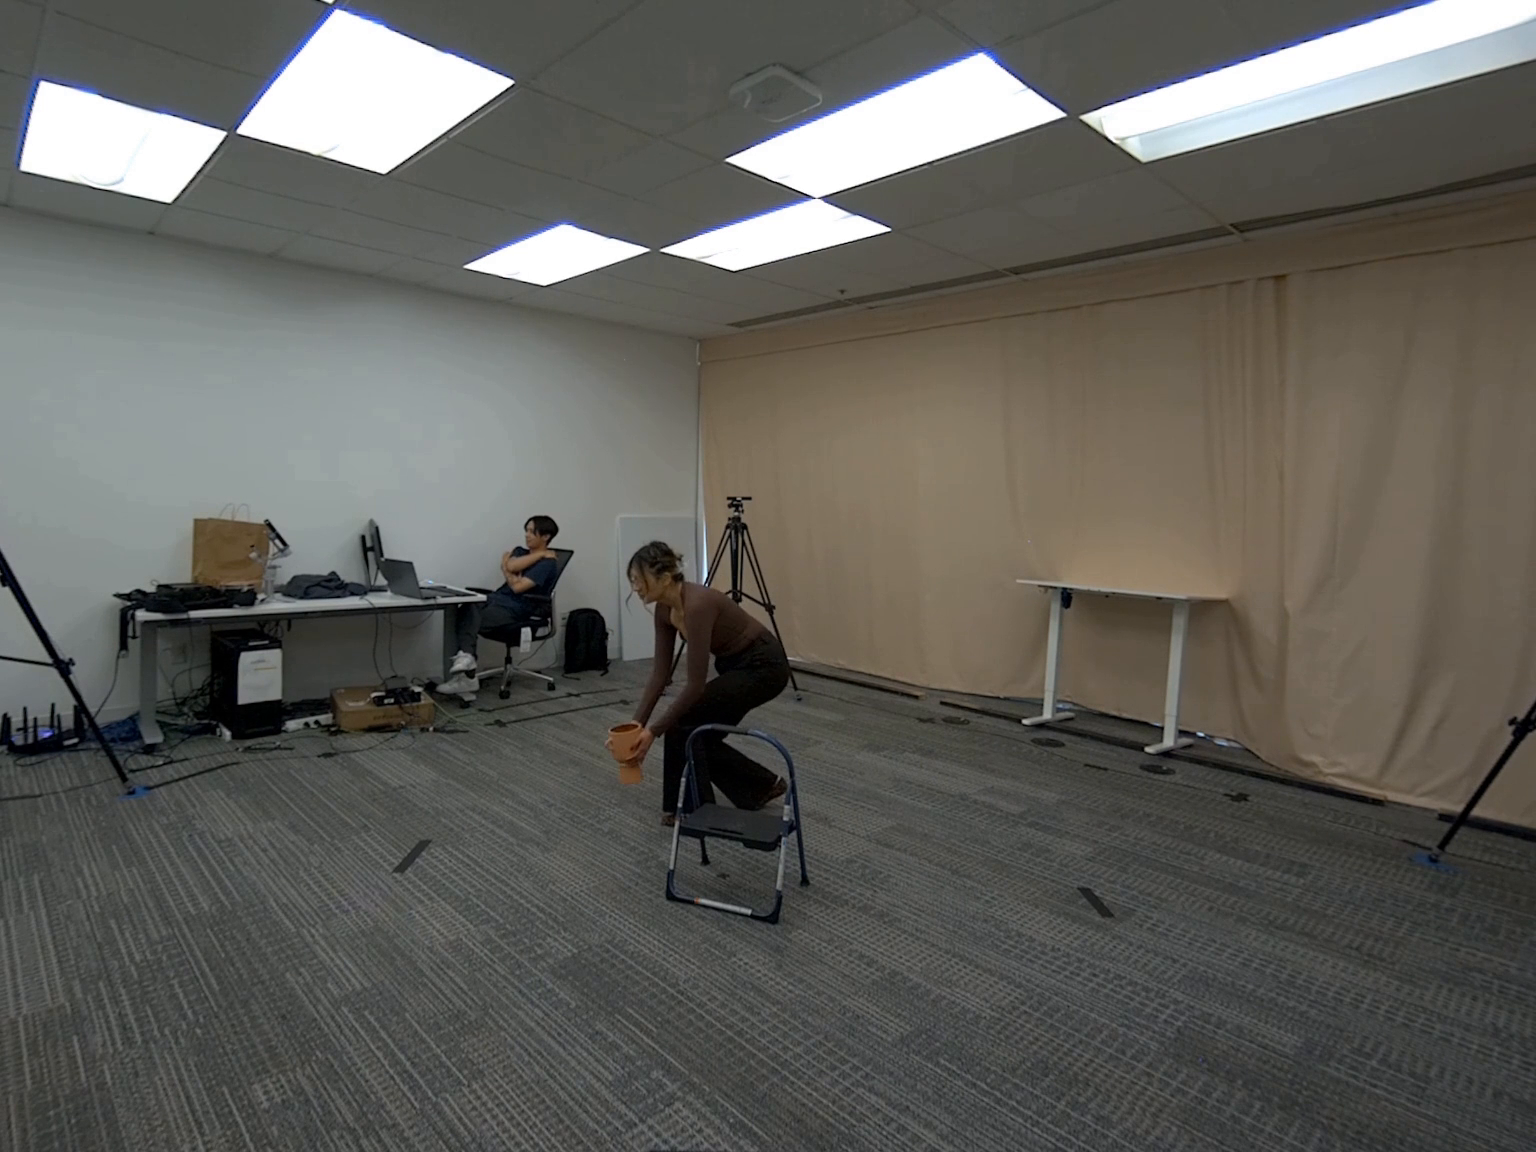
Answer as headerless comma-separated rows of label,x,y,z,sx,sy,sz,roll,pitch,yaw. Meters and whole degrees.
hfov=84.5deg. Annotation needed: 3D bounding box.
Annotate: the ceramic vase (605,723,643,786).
ceramic vase,-0.583,0.717,3.436,0.158,0.219,0.135,-5,4,-4
